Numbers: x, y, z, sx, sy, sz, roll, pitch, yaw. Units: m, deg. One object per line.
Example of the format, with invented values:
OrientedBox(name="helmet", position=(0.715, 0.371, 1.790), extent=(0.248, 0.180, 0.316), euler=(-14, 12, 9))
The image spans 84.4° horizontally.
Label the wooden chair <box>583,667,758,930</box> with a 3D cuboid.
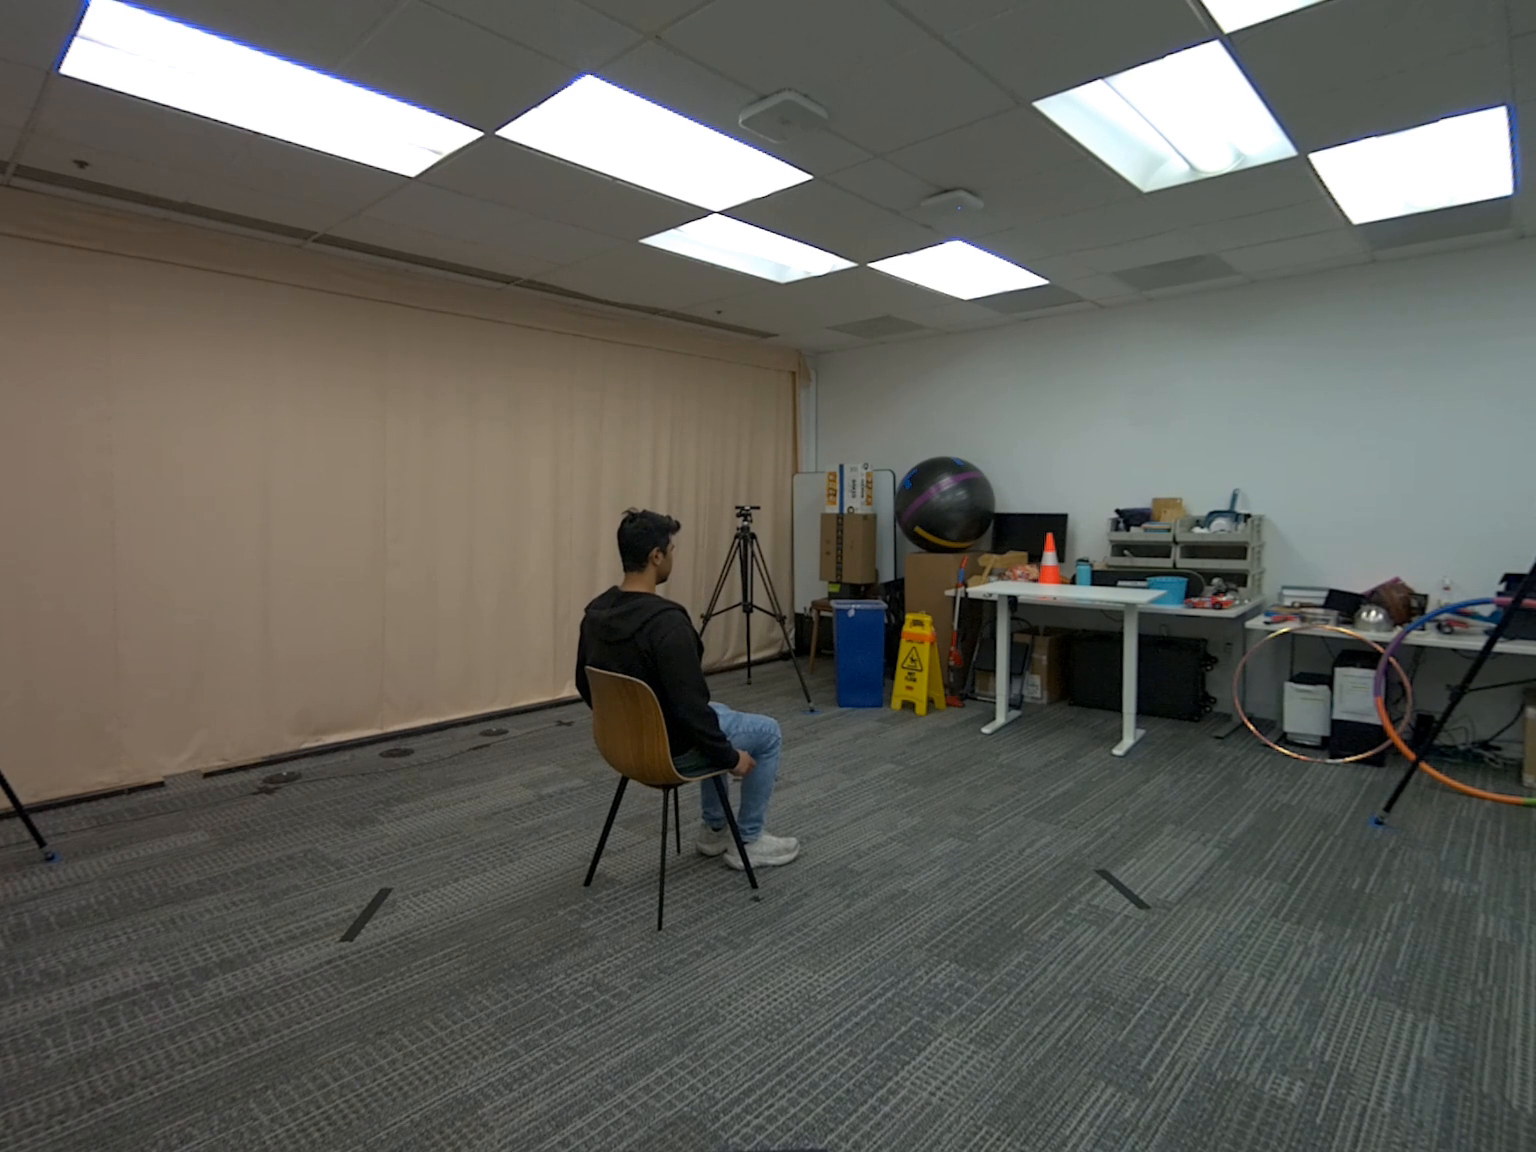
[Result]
OrientedBox(name="wooden chair", position=(-0.351, 0.710, 3.058), extent=(0.508, 0.874, 0.494), euler=(-9, 8, -43))
